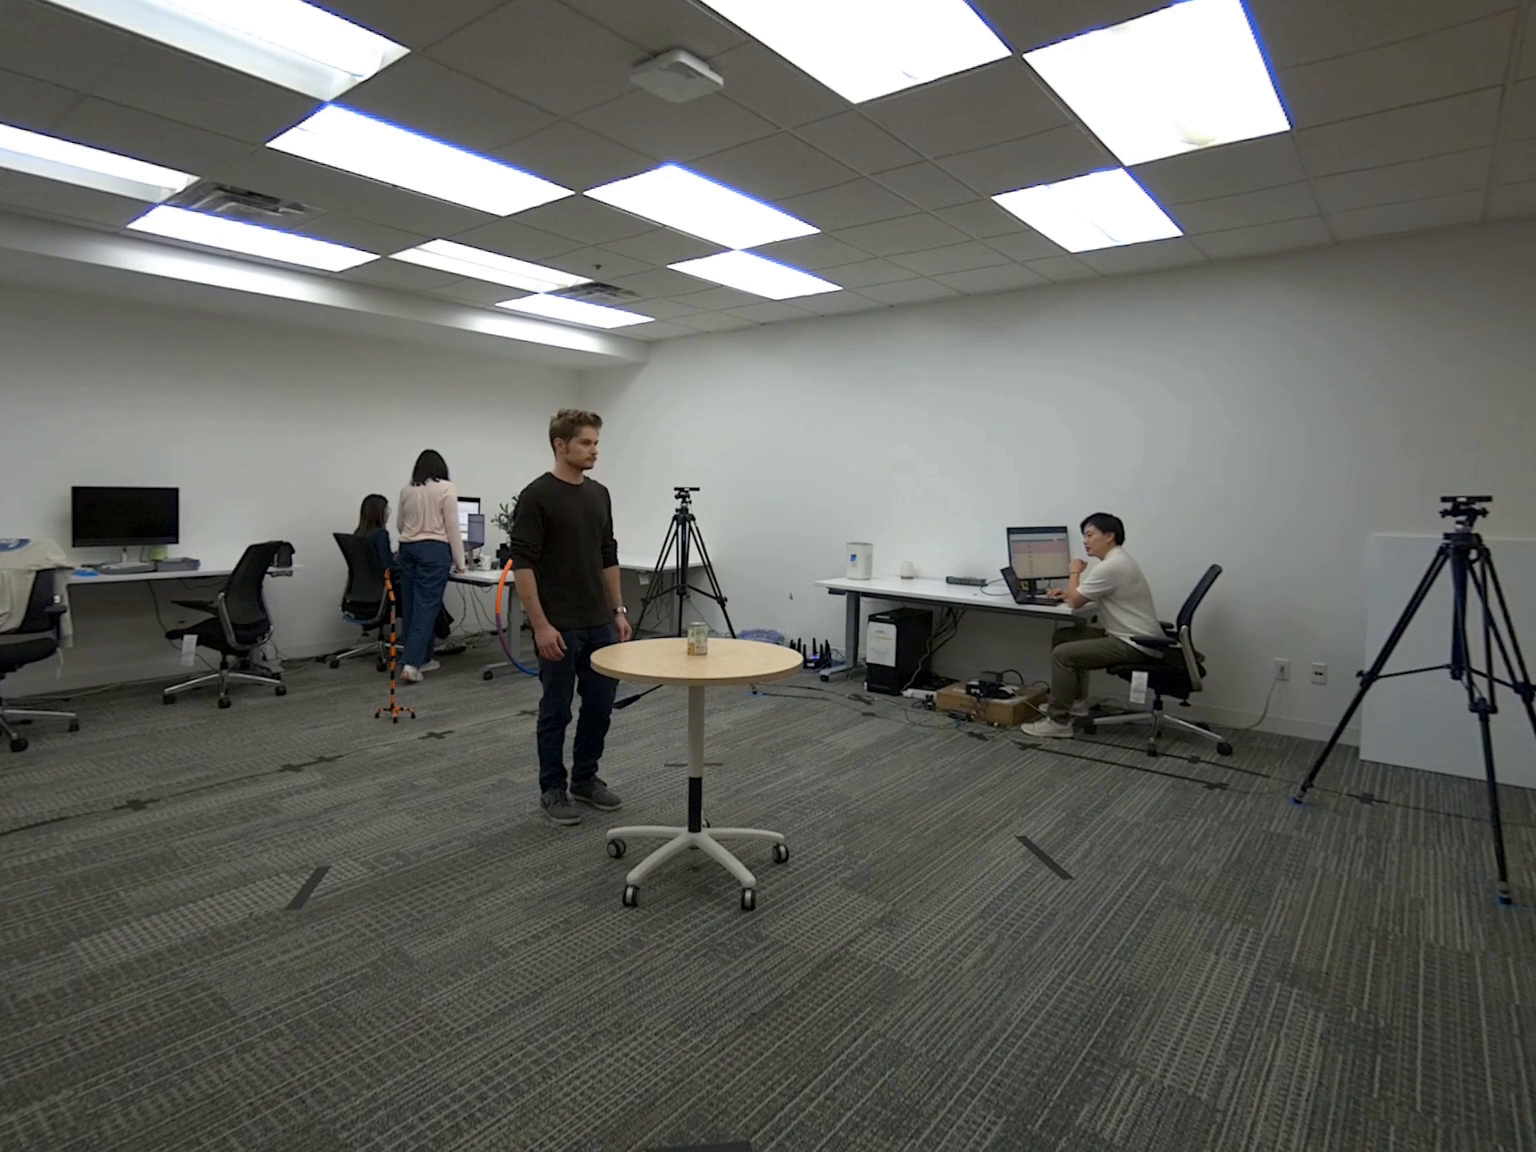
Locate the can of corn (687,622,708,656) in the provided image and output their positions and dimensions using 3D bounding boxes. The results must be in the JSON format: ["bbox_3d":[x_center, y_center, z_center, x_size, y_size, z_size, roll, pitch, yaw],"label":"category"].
[{"bbox_3d":[-0.270,0.225,3.104,0.074,0.111,0.074,0,2,-2],"label":"can of corn"}]
